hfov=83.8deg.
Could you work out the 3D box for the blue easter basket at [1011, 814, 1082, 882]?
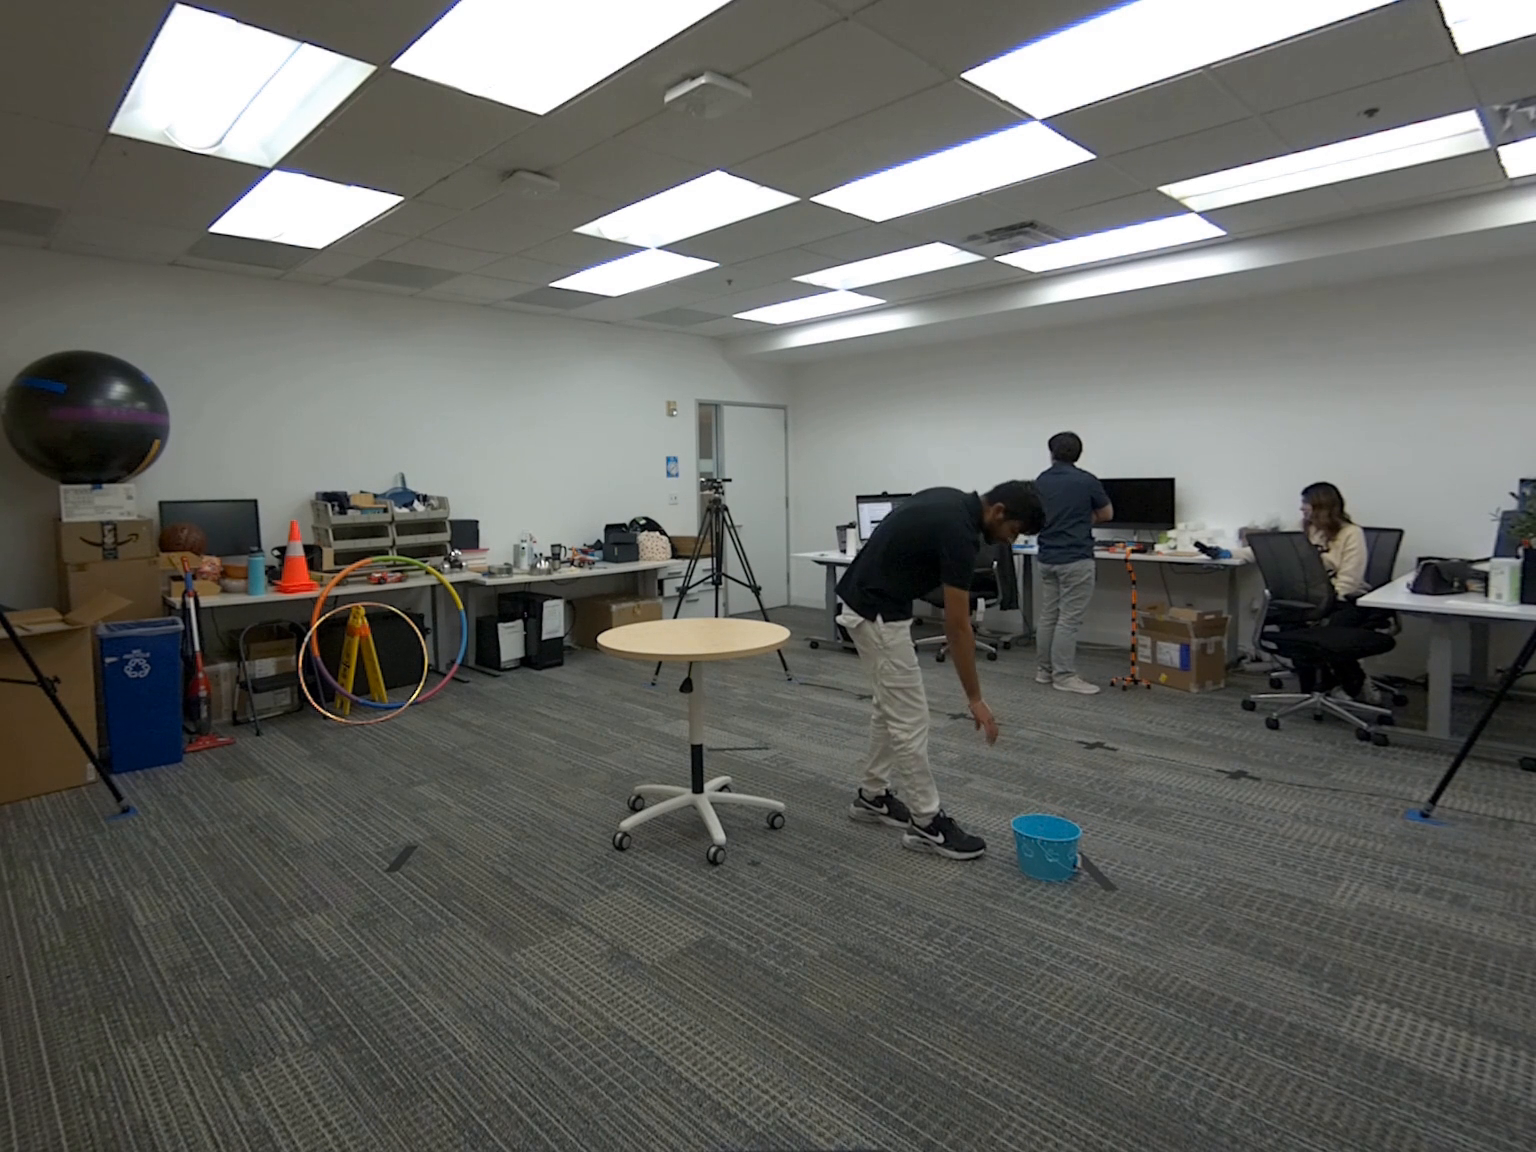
[{"bbox_3d":[0.986,0.960,3.011,0.243,0.155,0.245,-2,6,-2],"label":"blue easter basket"}]
